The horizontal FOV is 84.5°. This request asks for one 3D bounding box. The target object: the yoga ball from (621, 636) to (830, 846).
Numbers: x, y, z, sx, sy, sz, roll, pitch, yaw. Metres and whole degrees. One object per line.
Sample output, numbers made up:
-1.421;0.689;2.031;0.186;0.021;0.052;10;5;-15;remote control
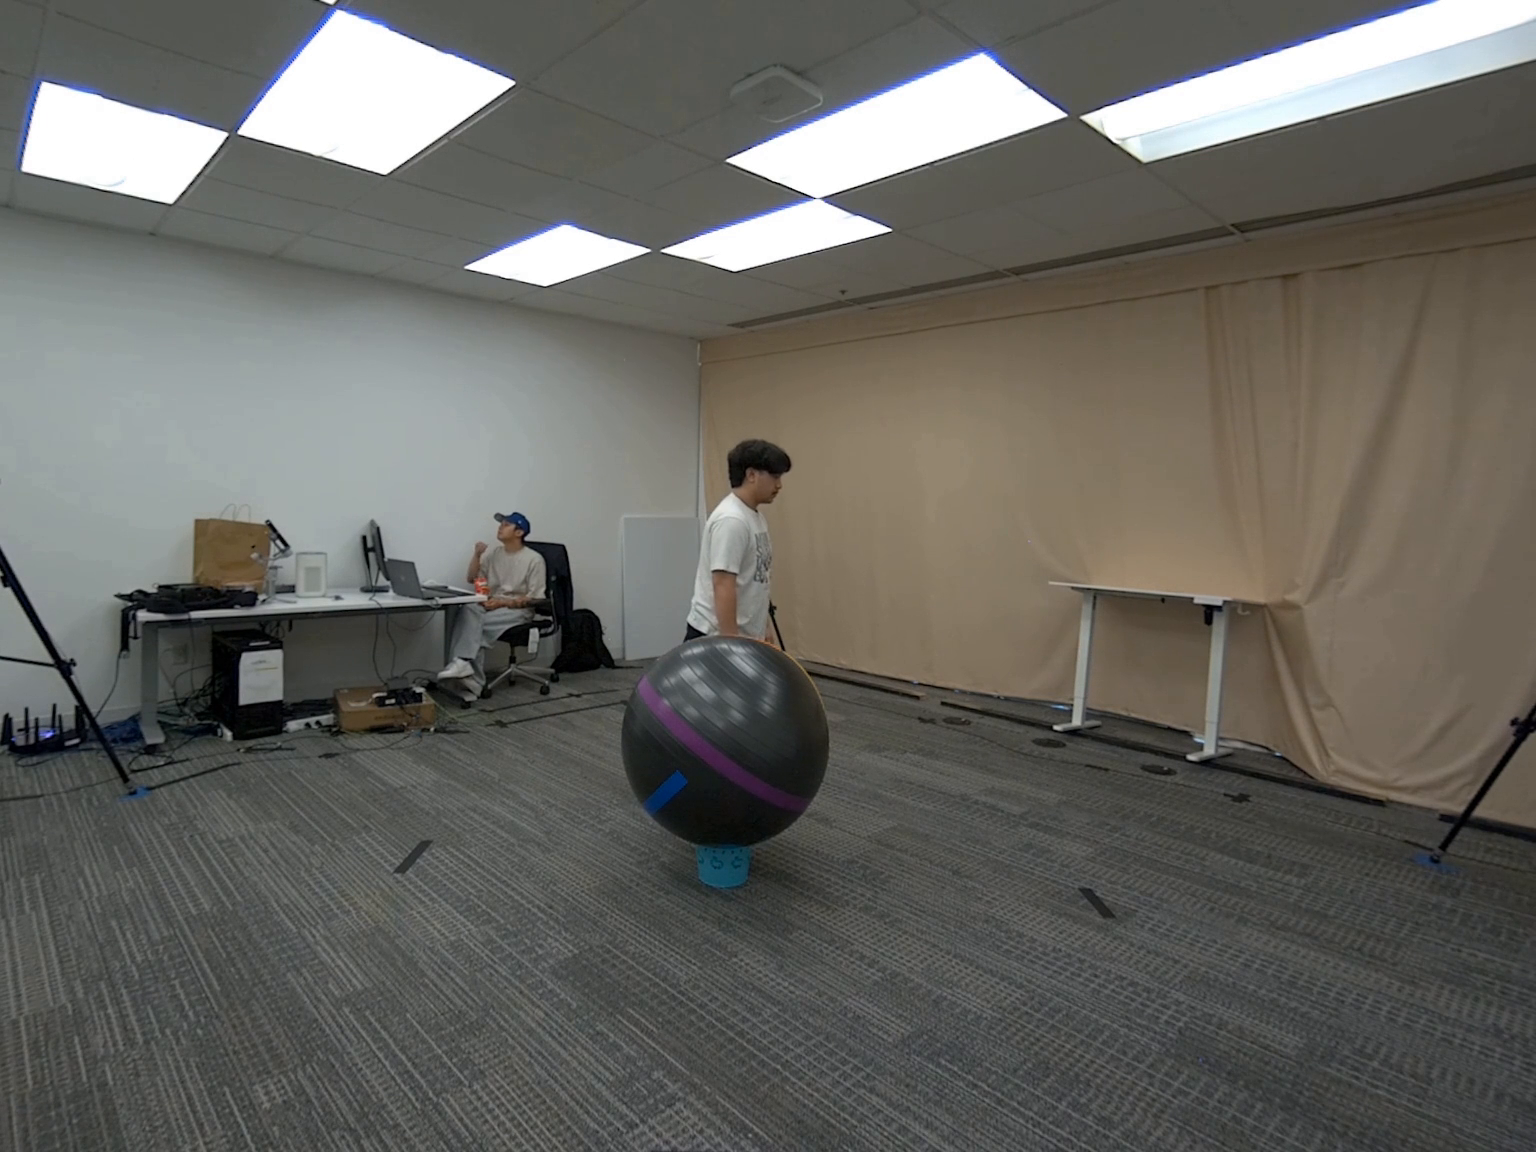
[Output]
-0.156;0.603;3.079;0.757;0.756;0.761;1;4;-1;yoga ball
